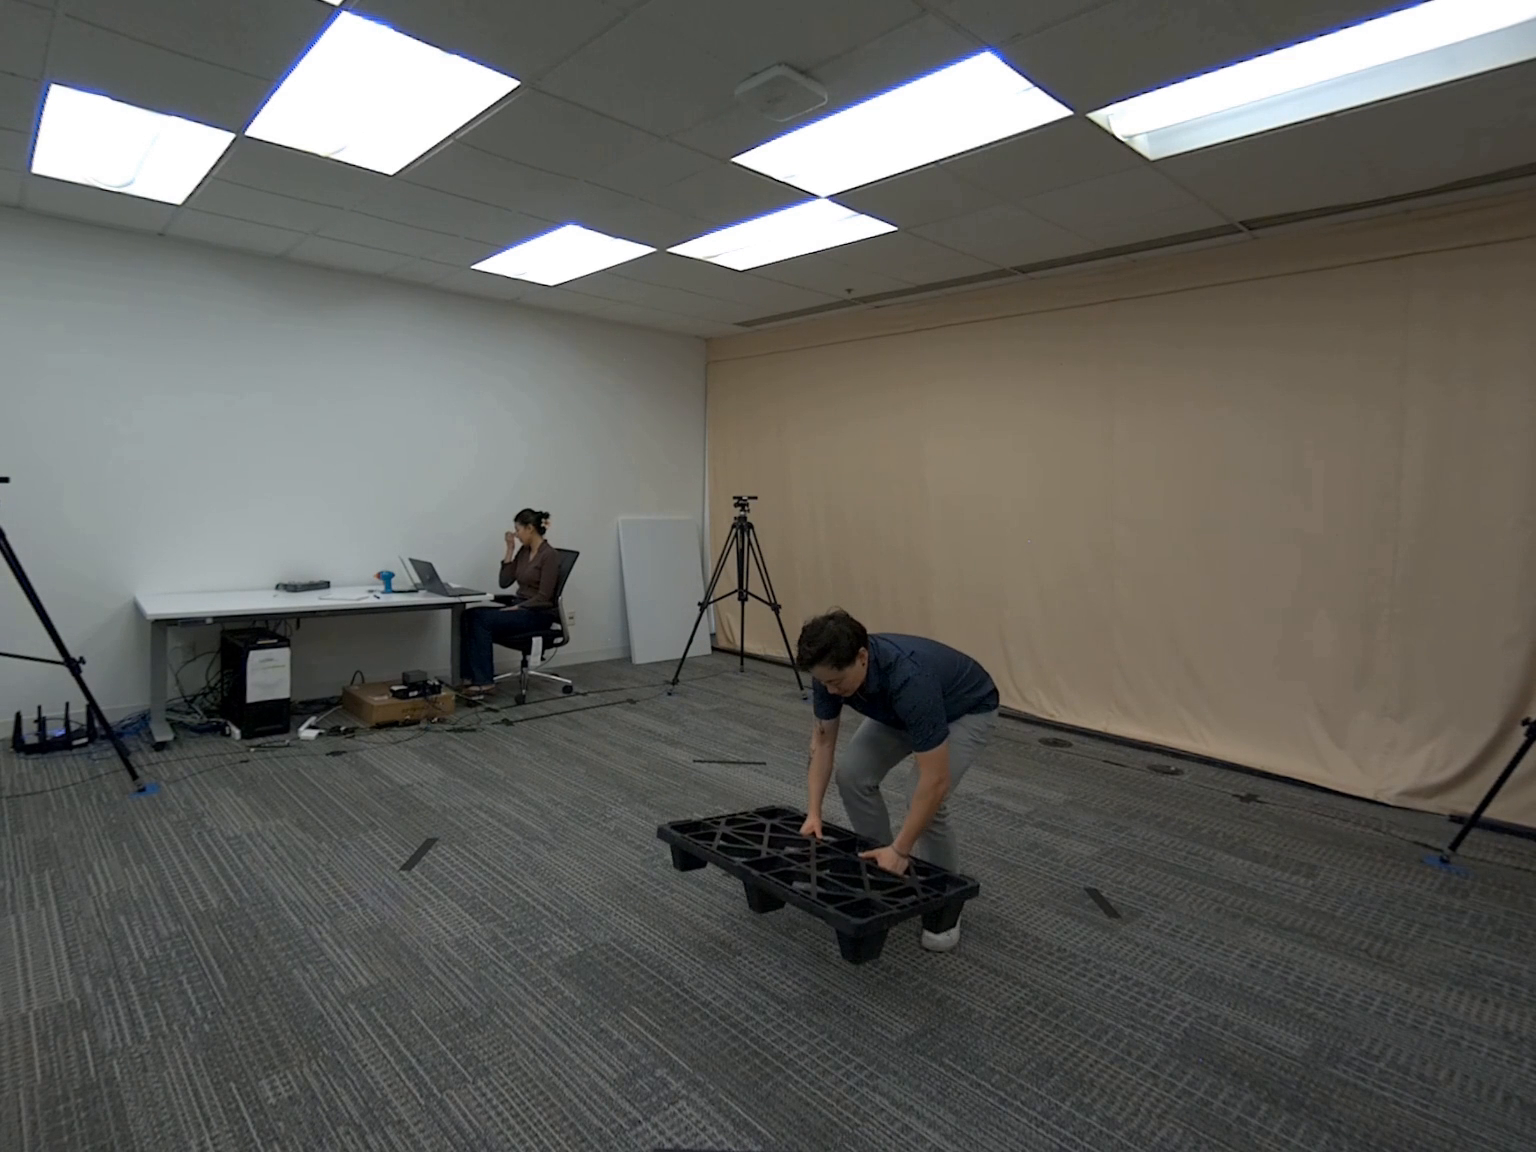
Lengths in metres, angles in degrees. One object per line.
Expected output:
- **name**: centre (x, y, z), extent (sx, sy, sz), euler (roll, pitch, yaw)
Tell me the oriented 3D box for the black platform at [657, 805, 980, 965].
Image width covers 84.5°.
- **black platform**: centre (0.124, 0.908, 2.536), extent (0.589, 0.143, 0.826), euler (6, 1, -44)
